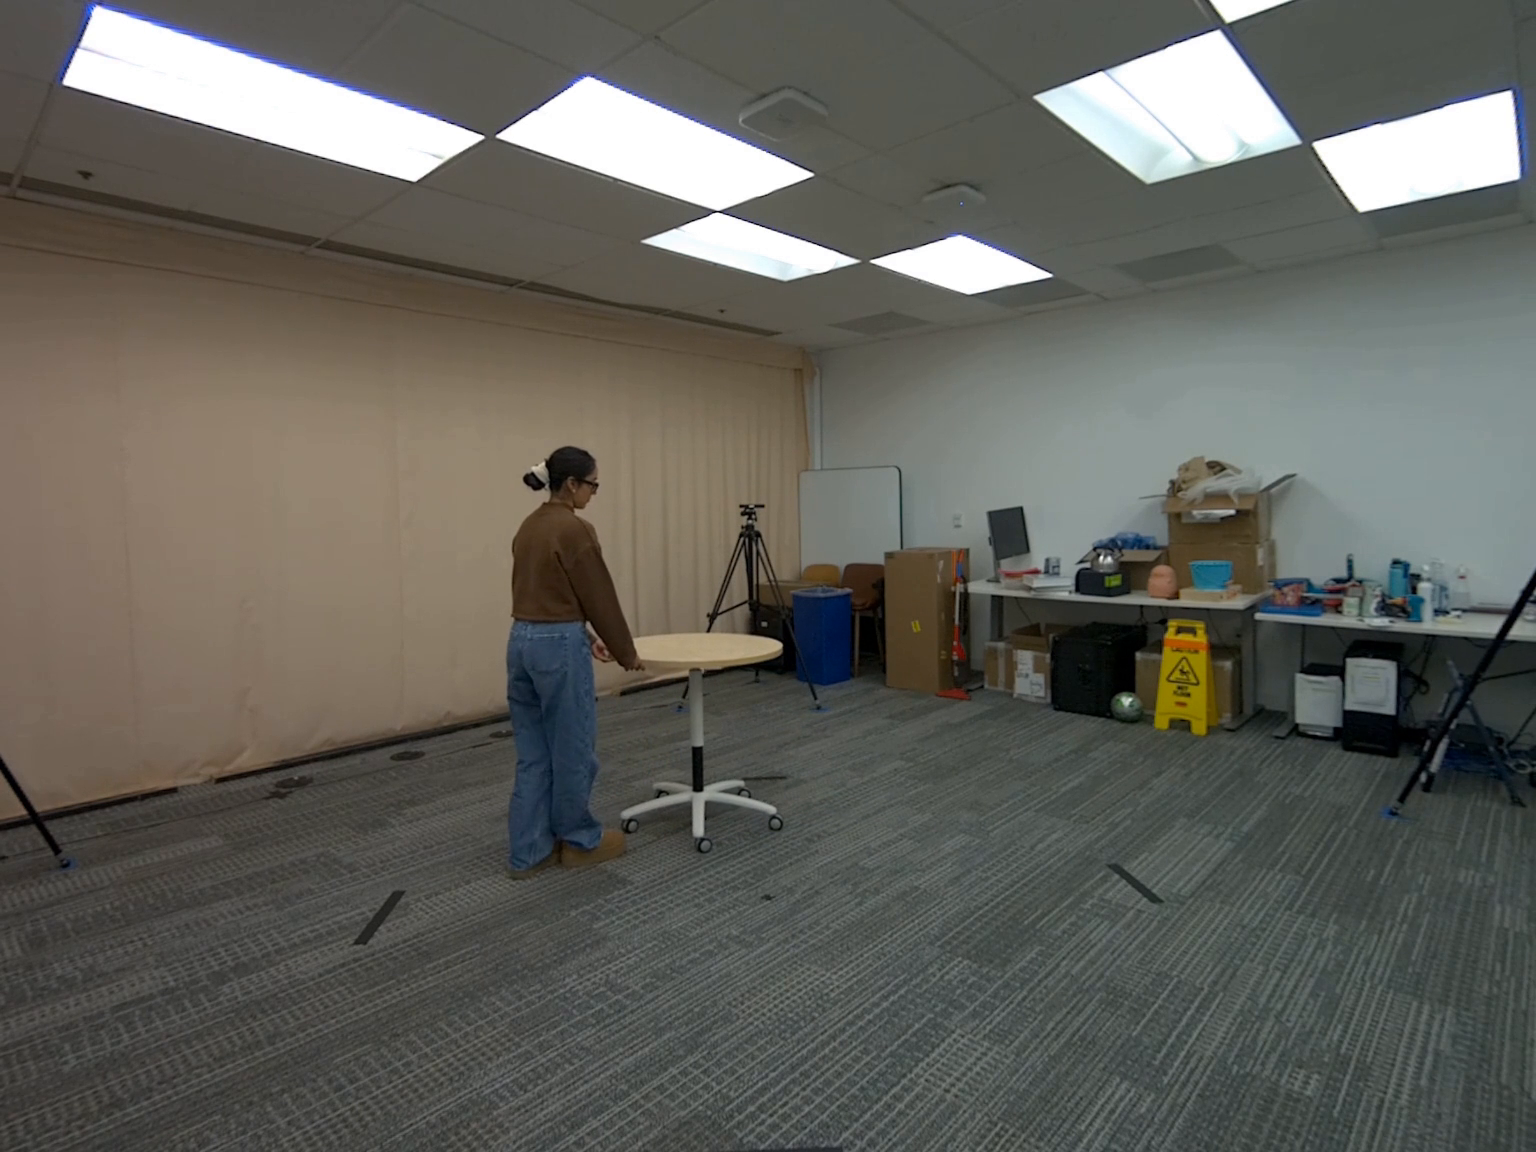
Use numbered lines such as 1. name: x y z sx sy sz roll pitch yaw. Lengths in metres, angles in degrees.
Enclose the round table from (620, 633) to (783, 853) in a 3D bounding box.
1. round table: -0.308 0.696 3.692 0.763 0.793 0.766 -1 3 -2
